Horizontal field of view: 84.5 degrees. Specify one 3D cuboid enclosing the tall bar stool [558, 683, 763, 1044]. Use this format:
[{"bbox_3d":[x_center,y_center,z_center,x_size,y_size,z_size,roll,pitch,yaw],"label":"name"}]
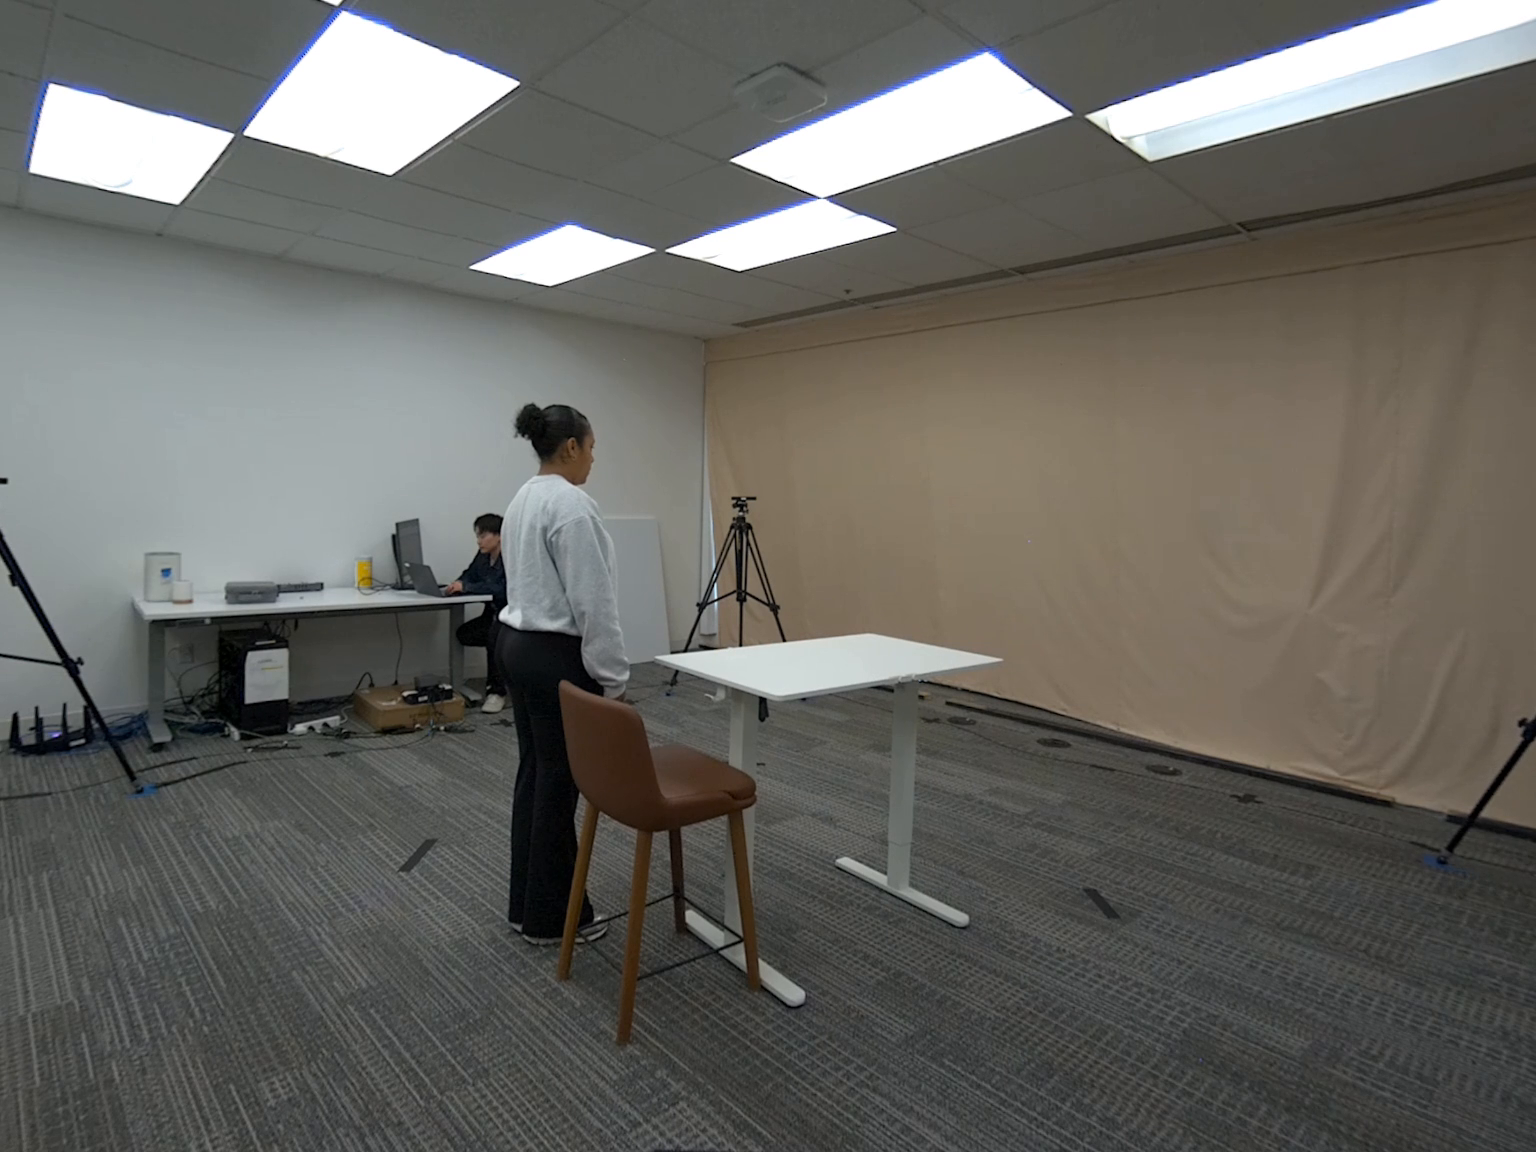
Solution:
[{"bbox_3d":[-0.320,0.732,2.386,0.458,0.886,0.468,-5,6,-38],"label":"tall bar stool"}]
